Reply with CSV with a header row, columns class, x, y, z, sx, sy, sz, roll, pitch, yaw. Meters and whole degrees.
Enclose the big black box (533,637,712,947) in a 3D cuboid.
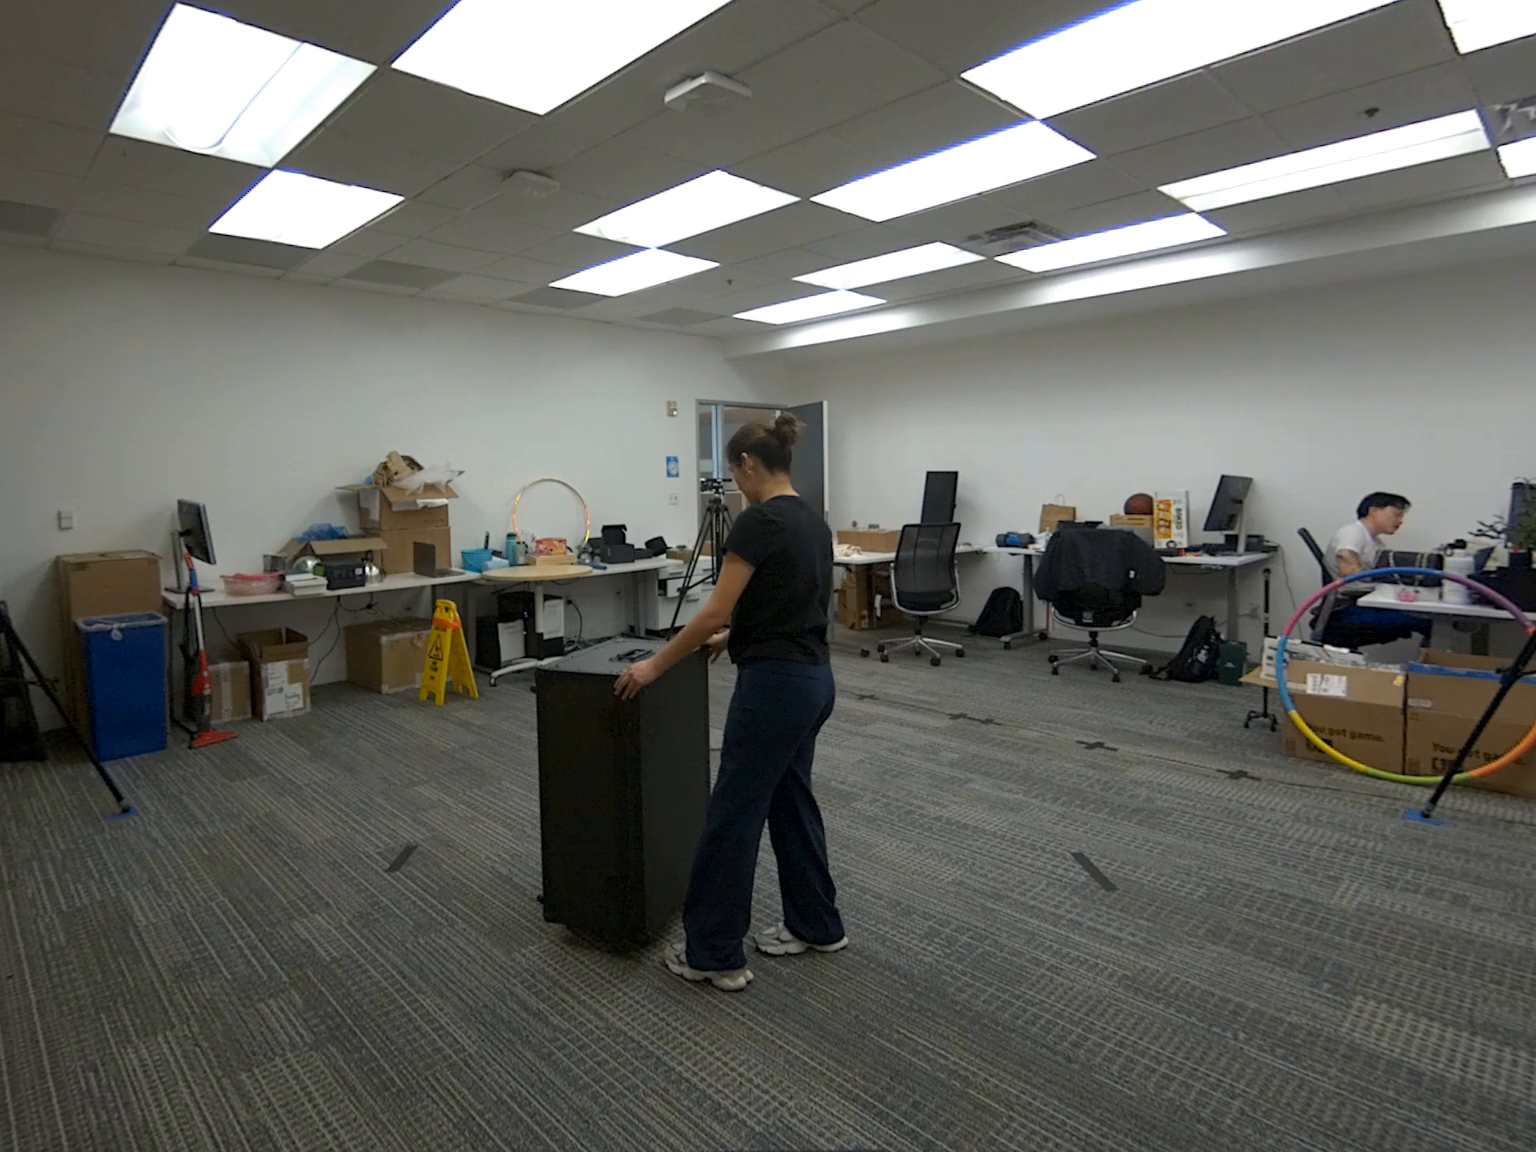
class,x,y,z,sx,sy,sz,roll,pitch,yaw
big black box,-0.449,0.667,2.727,0.404,0.858,0.513,0,5,22
